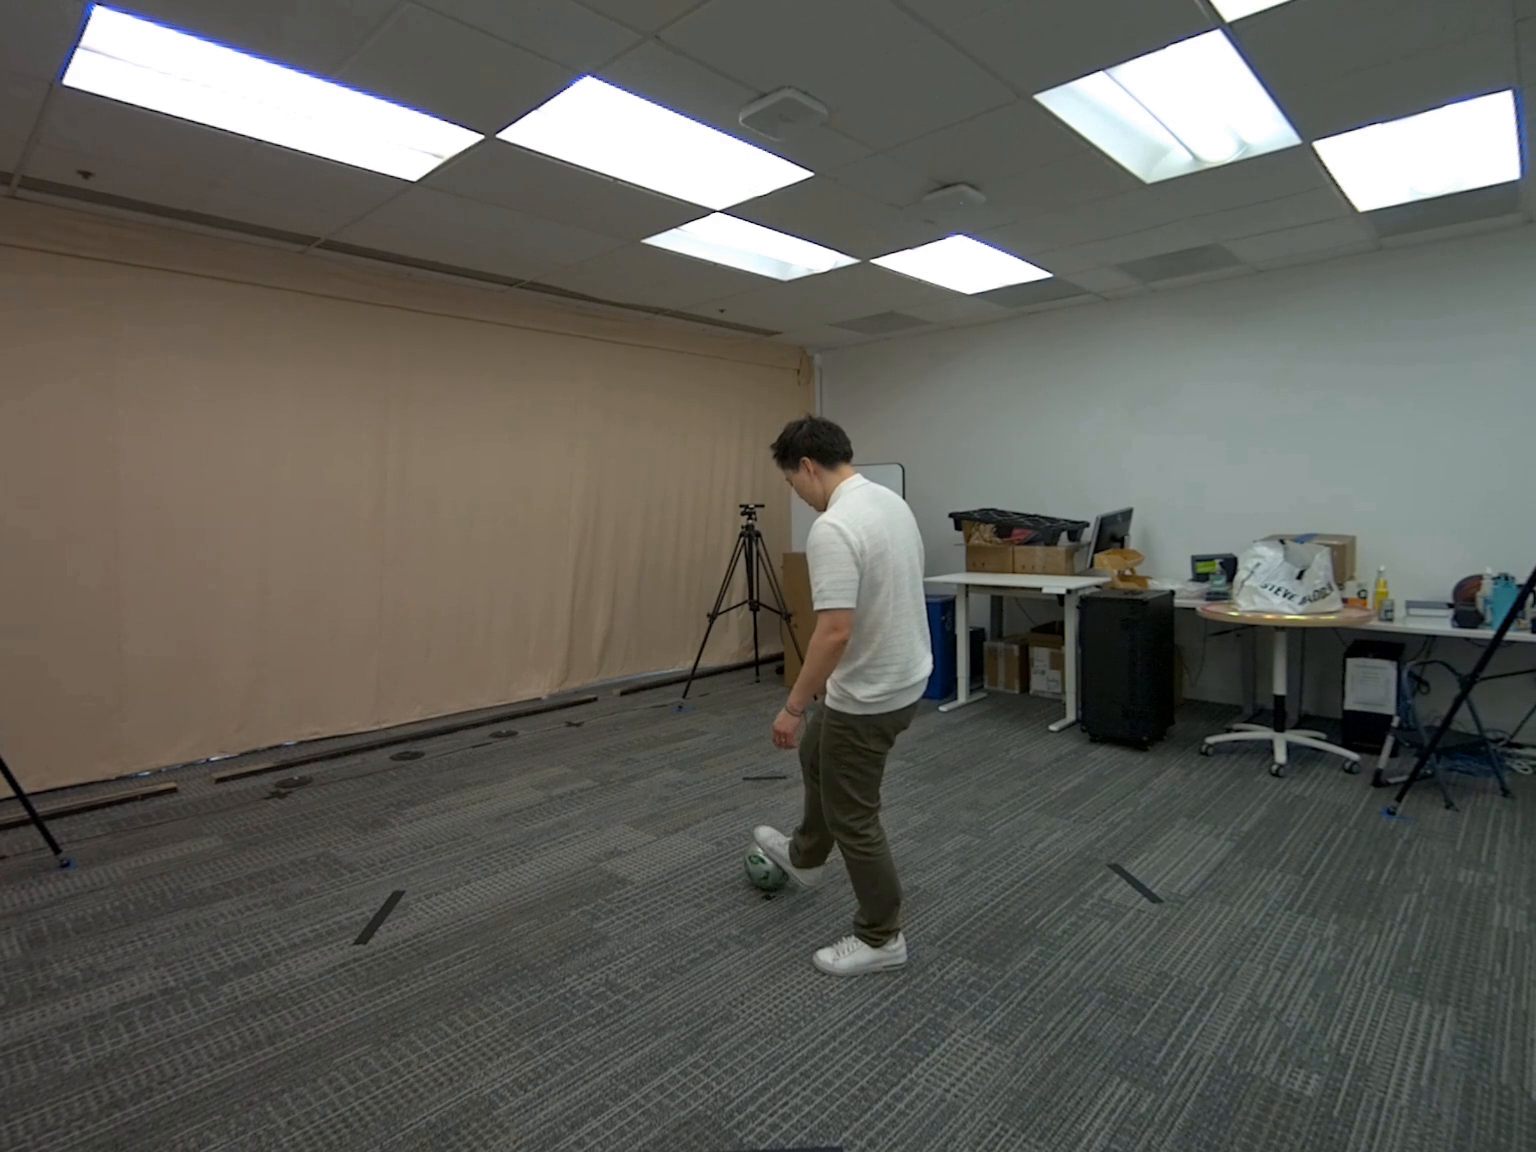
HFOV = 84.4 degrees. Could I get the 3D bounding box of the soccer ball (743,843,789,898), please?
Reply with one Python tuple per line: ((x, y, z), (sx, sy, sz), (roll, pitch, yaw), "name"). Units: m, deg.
((0.020, 1.039, 3.066), (0.187, 0.187, 0.188), (-1, 4, -2), "soccer ball")
